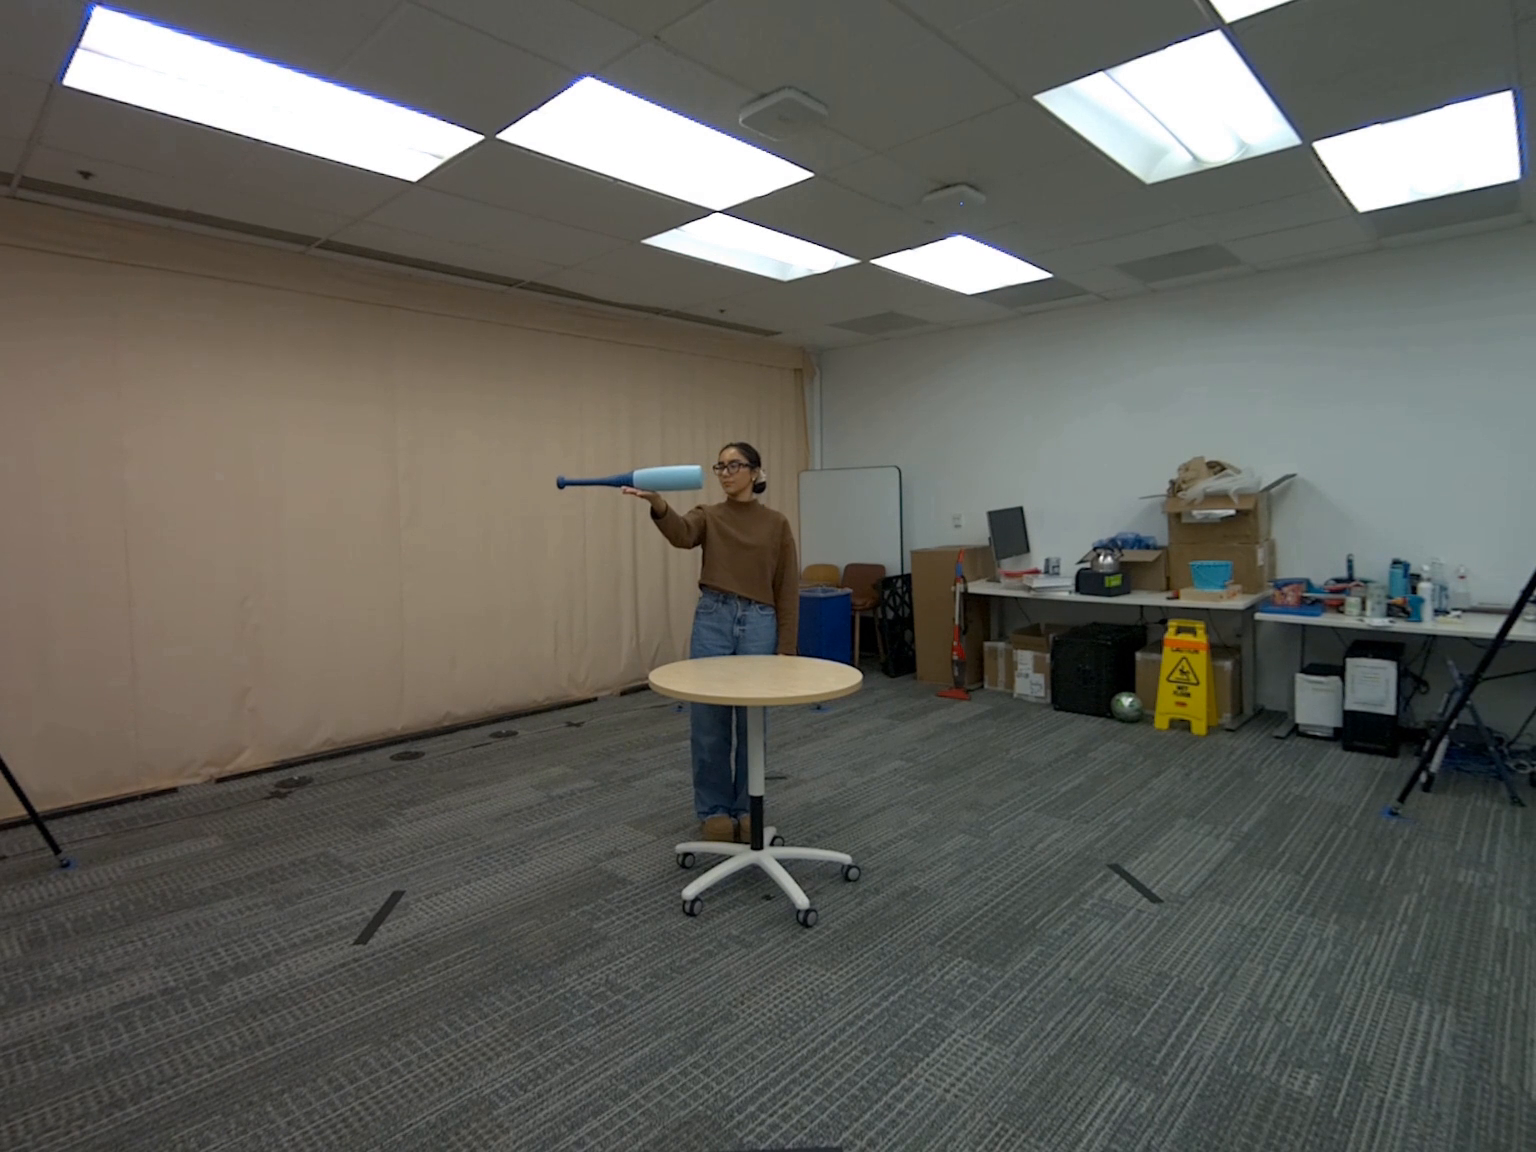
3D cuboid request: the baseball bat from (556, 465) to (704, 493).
[{"bbox_3d":[-0.505,-0.343,3.046,0.549,0.089,0.088,-2,4,10],"label":"baseball bat"}]
